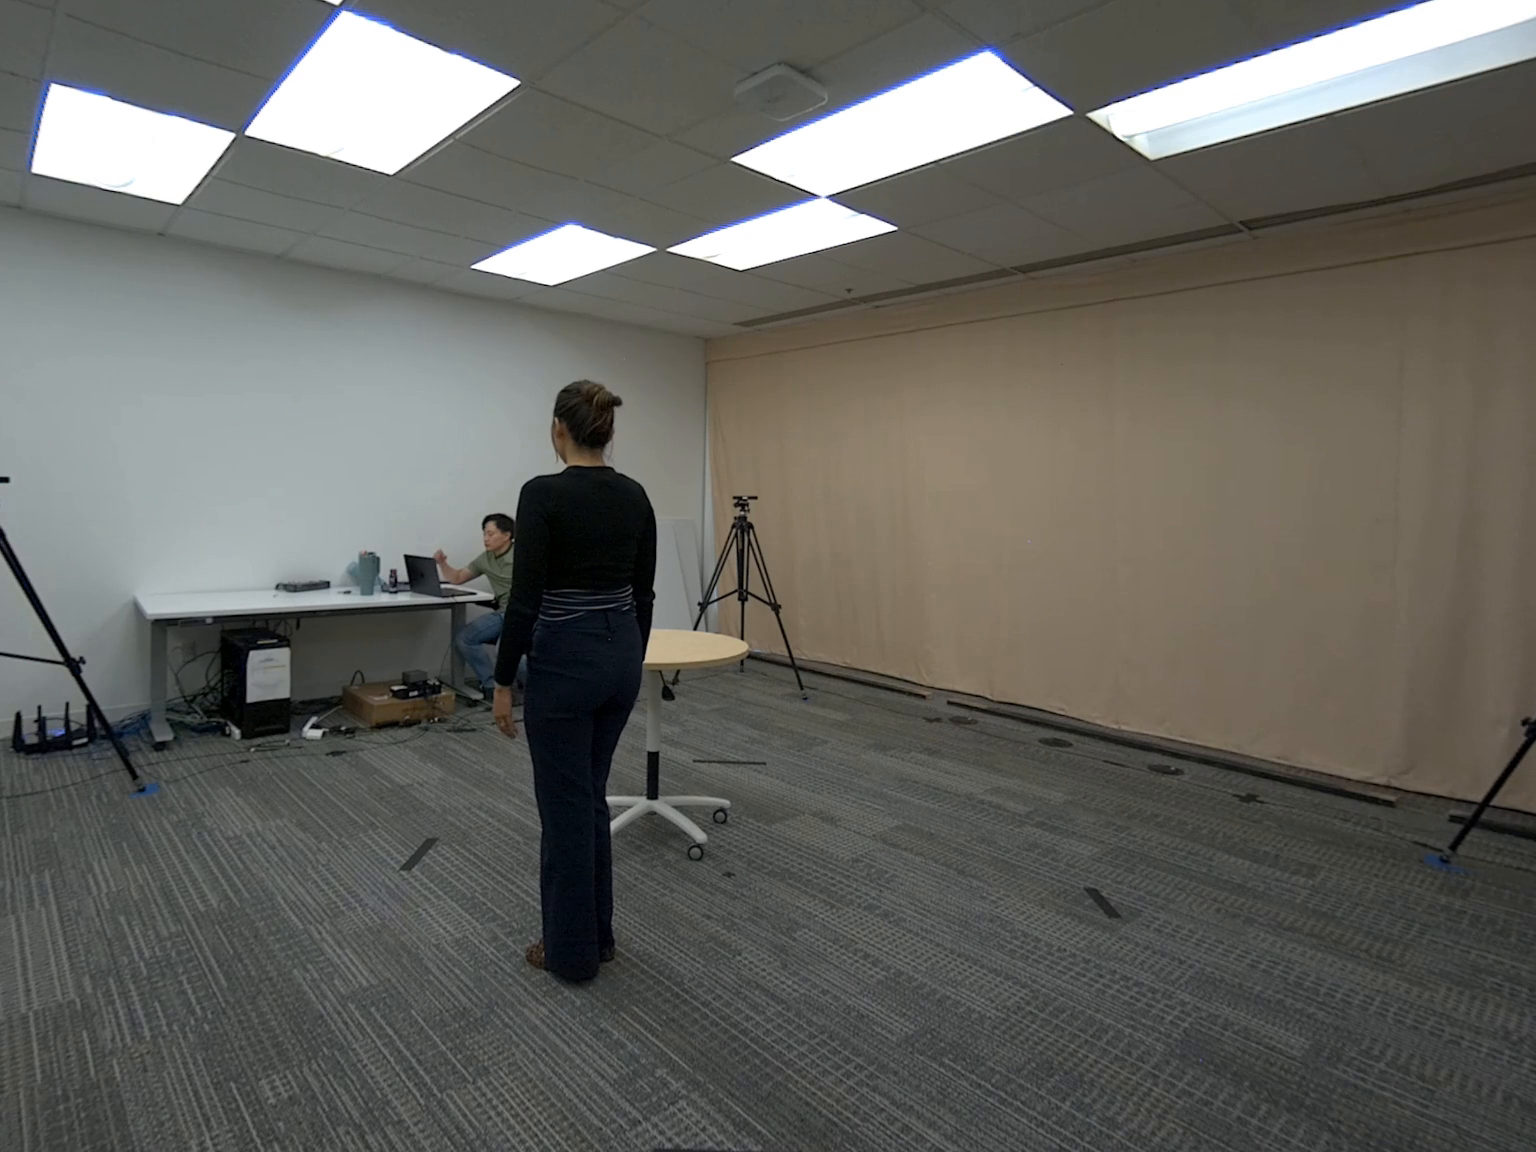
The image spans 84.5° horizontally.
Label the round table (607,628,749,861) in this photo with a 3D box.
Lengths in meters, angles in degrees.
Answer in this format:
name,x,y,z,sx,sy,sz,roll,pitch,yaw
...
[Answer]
name,x,y,z,sx,sy,sz,roll,pitch,yaw
round table,-0.481,0.676,3.462,0.763,0.792,0.766,1,4,-1
